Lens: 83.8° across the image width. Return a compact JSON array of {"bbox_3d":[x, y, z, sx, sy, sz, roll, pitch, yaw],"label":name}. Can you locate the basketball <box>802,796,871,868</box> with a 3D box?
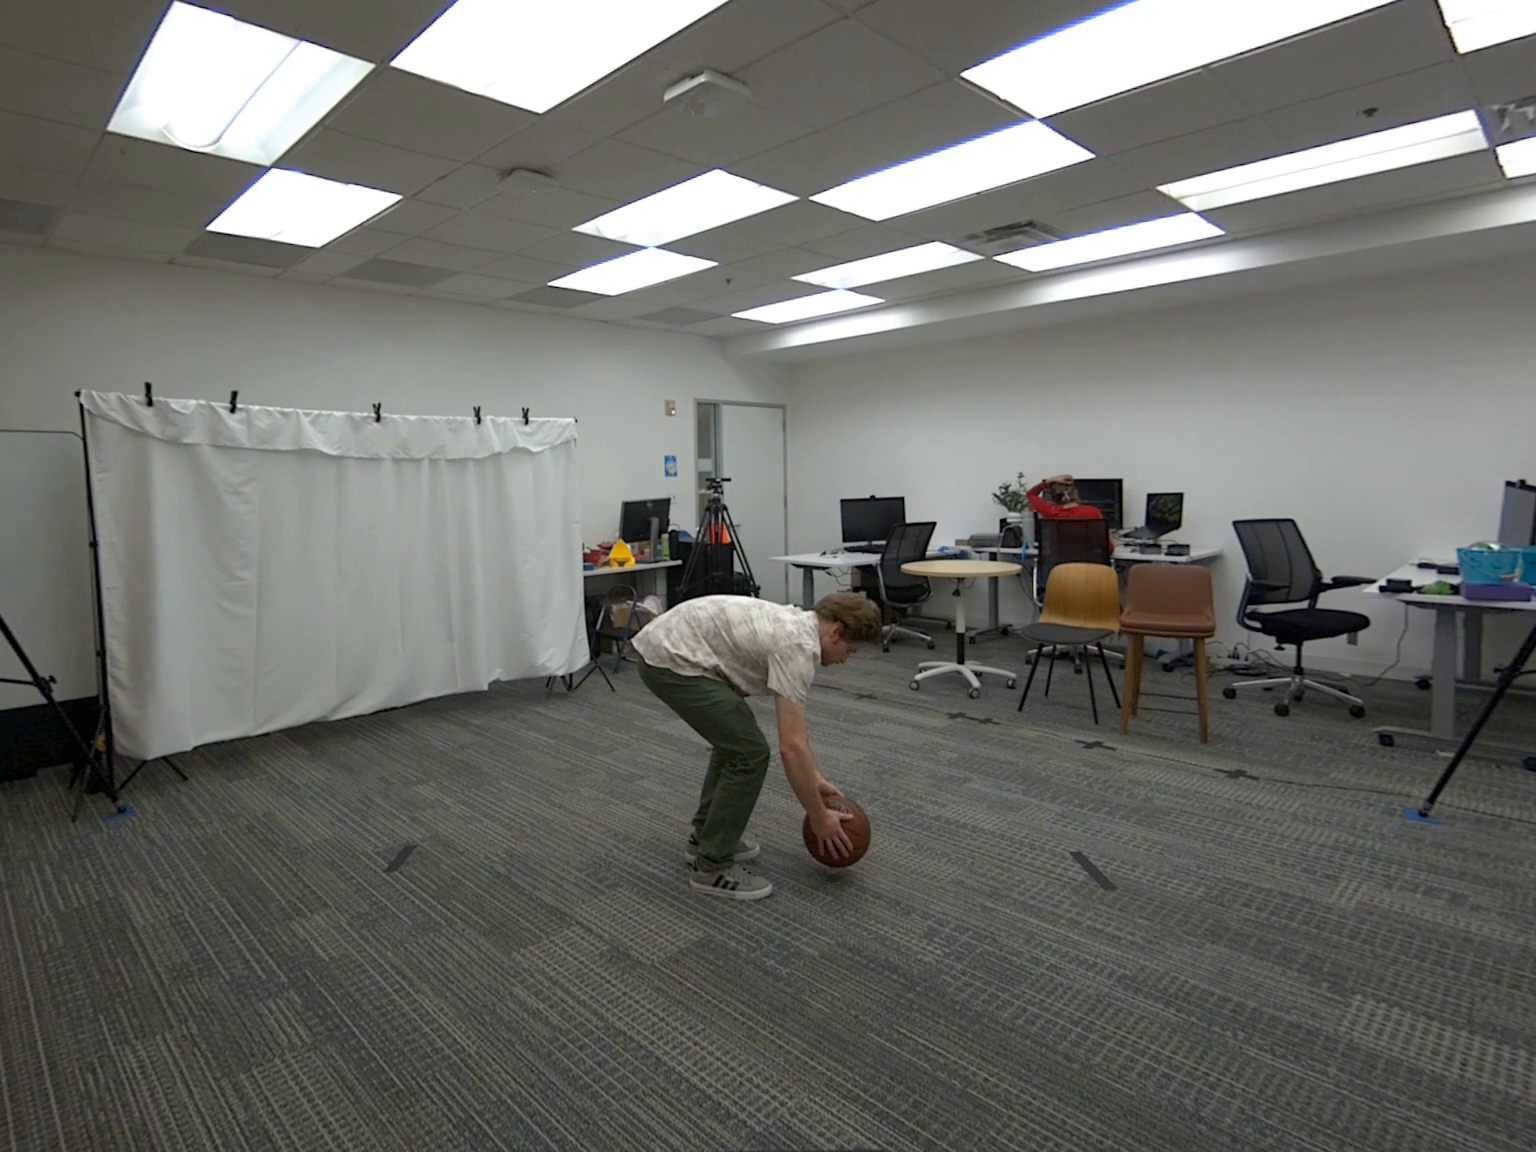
[{"bbox_3d":[0.243,0.881,2.988,0.236,0.235,0.237,-1,5,-2],"label":"basketball"}]
